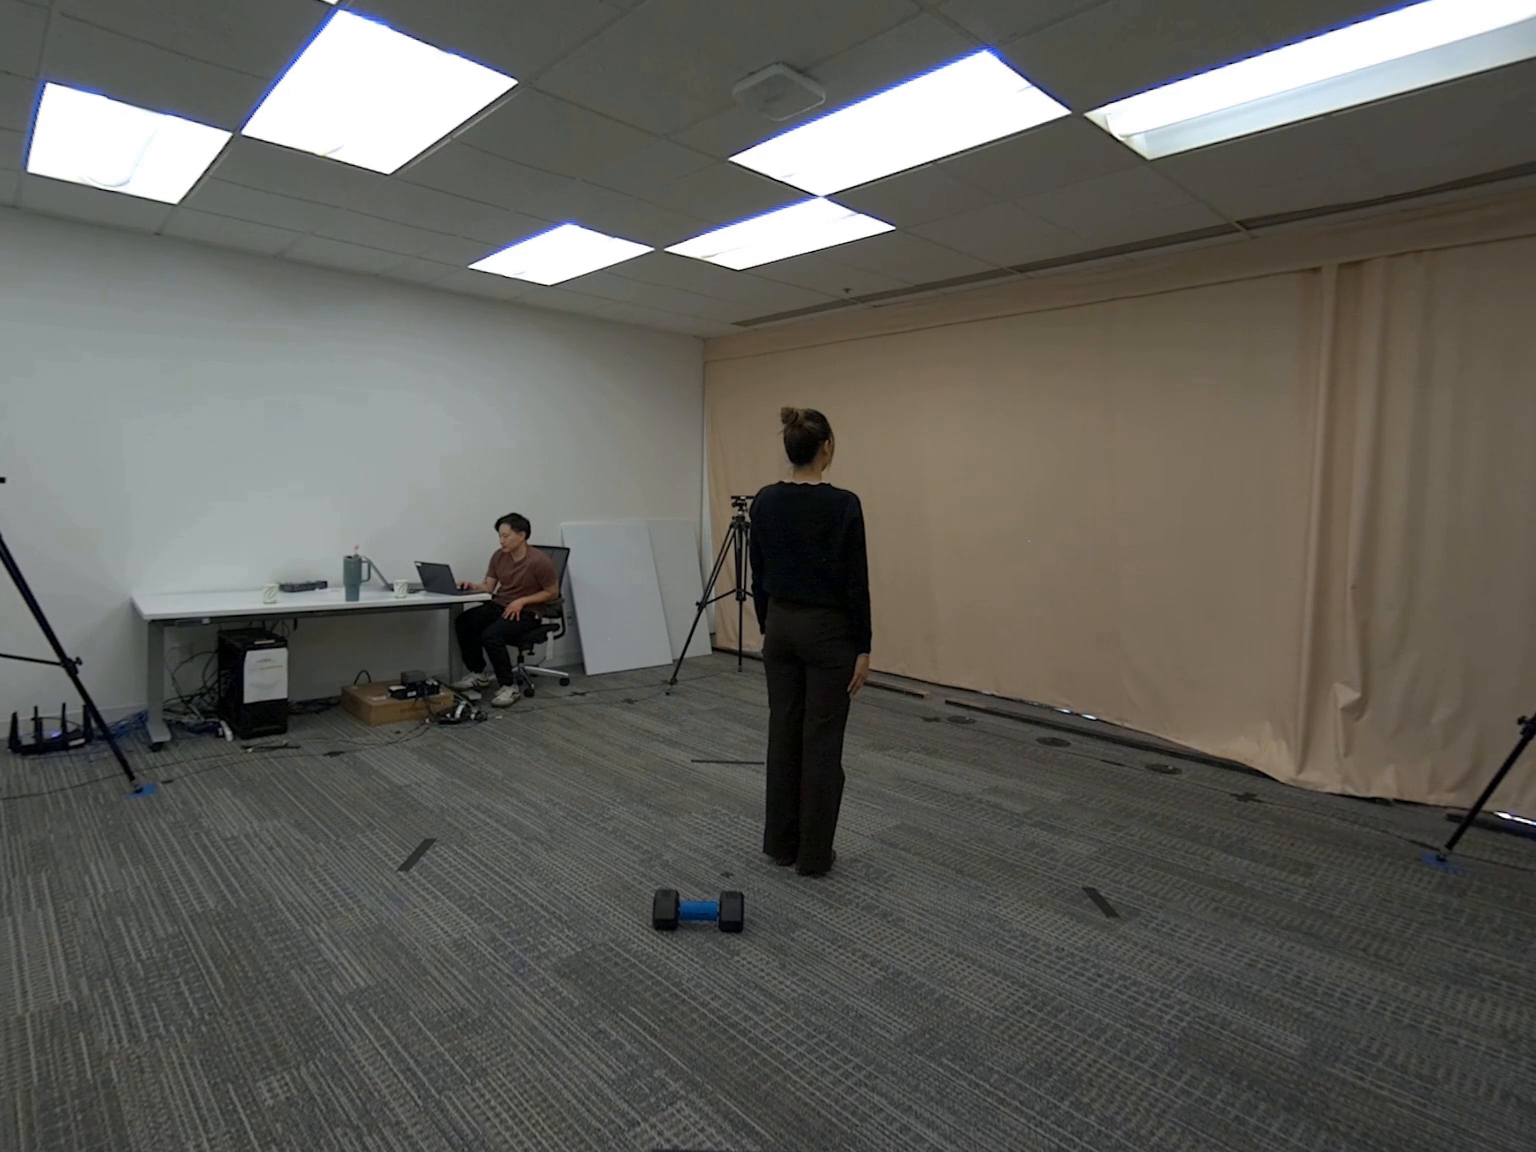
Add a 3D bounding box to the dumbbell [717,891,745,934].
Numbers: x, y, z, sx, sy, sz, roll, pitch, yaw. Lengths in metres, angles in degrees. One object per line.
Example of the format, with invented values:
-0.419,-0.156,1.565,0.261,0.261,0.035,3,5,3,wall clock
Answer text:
-0.227,1.085,2.716,0.294,0.120,0.111,1,32,1,dumbbell
